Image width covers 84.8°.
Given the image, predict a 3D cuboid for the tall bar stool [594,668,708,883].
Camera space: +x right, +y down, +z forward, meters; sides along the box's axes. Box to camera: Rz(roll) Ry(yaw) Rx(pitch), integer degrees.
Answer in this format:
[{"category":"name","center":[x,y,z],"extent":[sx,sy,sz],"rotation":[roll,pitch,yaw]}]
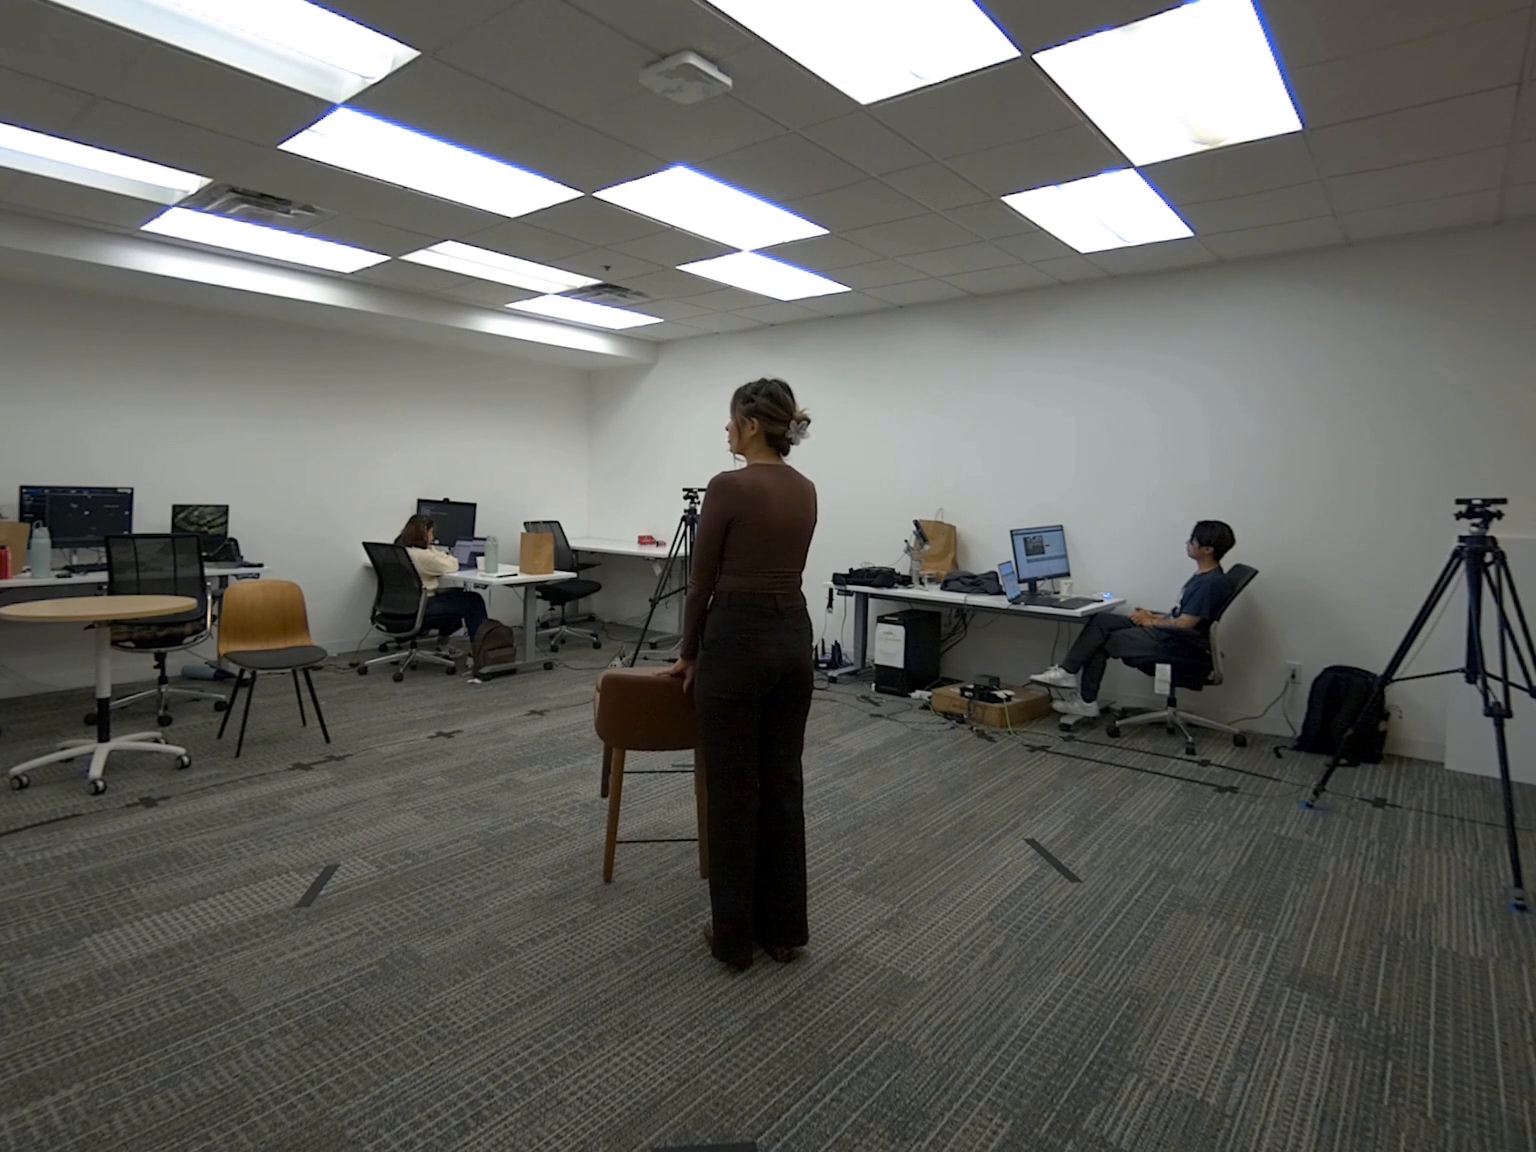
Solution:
[{"category":"tall bar stool","center":[-0.406,0.592,3.026],"extent":[0.453,0.871,0.481],"rotation":[1,27,-9]}]
